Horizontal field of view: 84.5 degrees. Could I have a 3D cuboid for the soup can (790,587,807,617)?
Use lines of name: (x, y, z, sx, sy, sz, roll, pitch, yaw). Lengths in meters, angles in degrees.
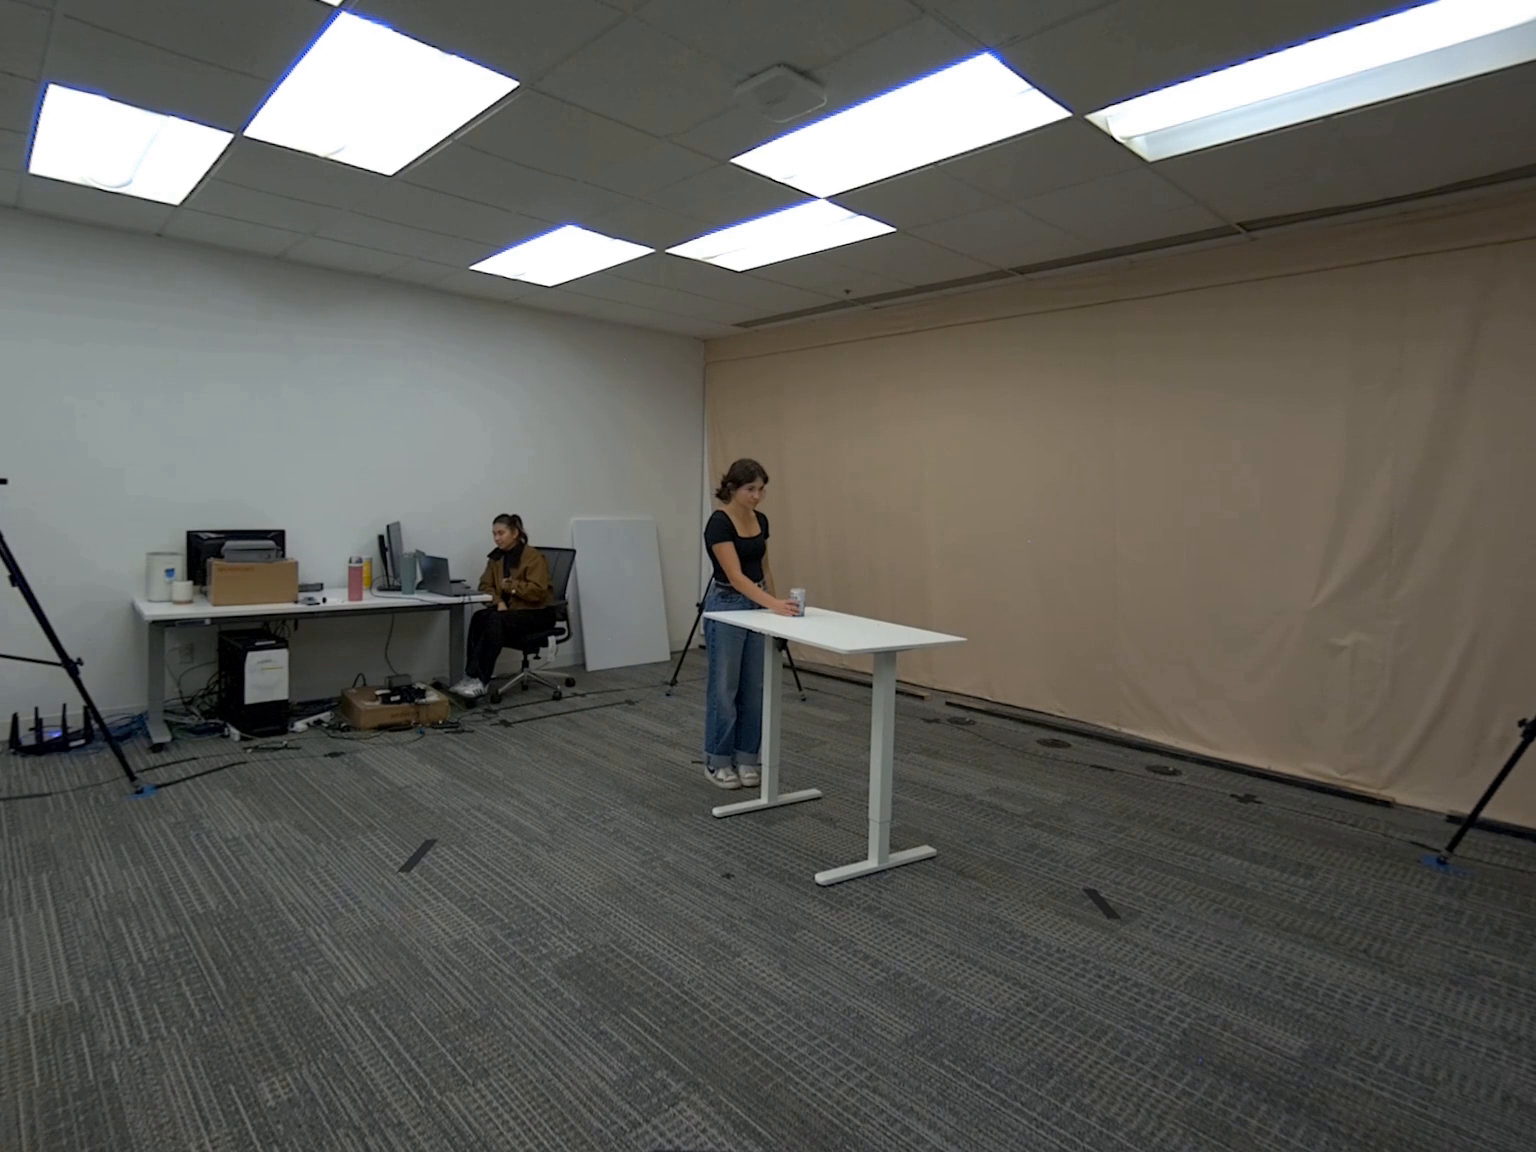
soup can: (0.123, 0.116, 3.726, 0.067, 0.121, 0.067, -3, 9, -1)
